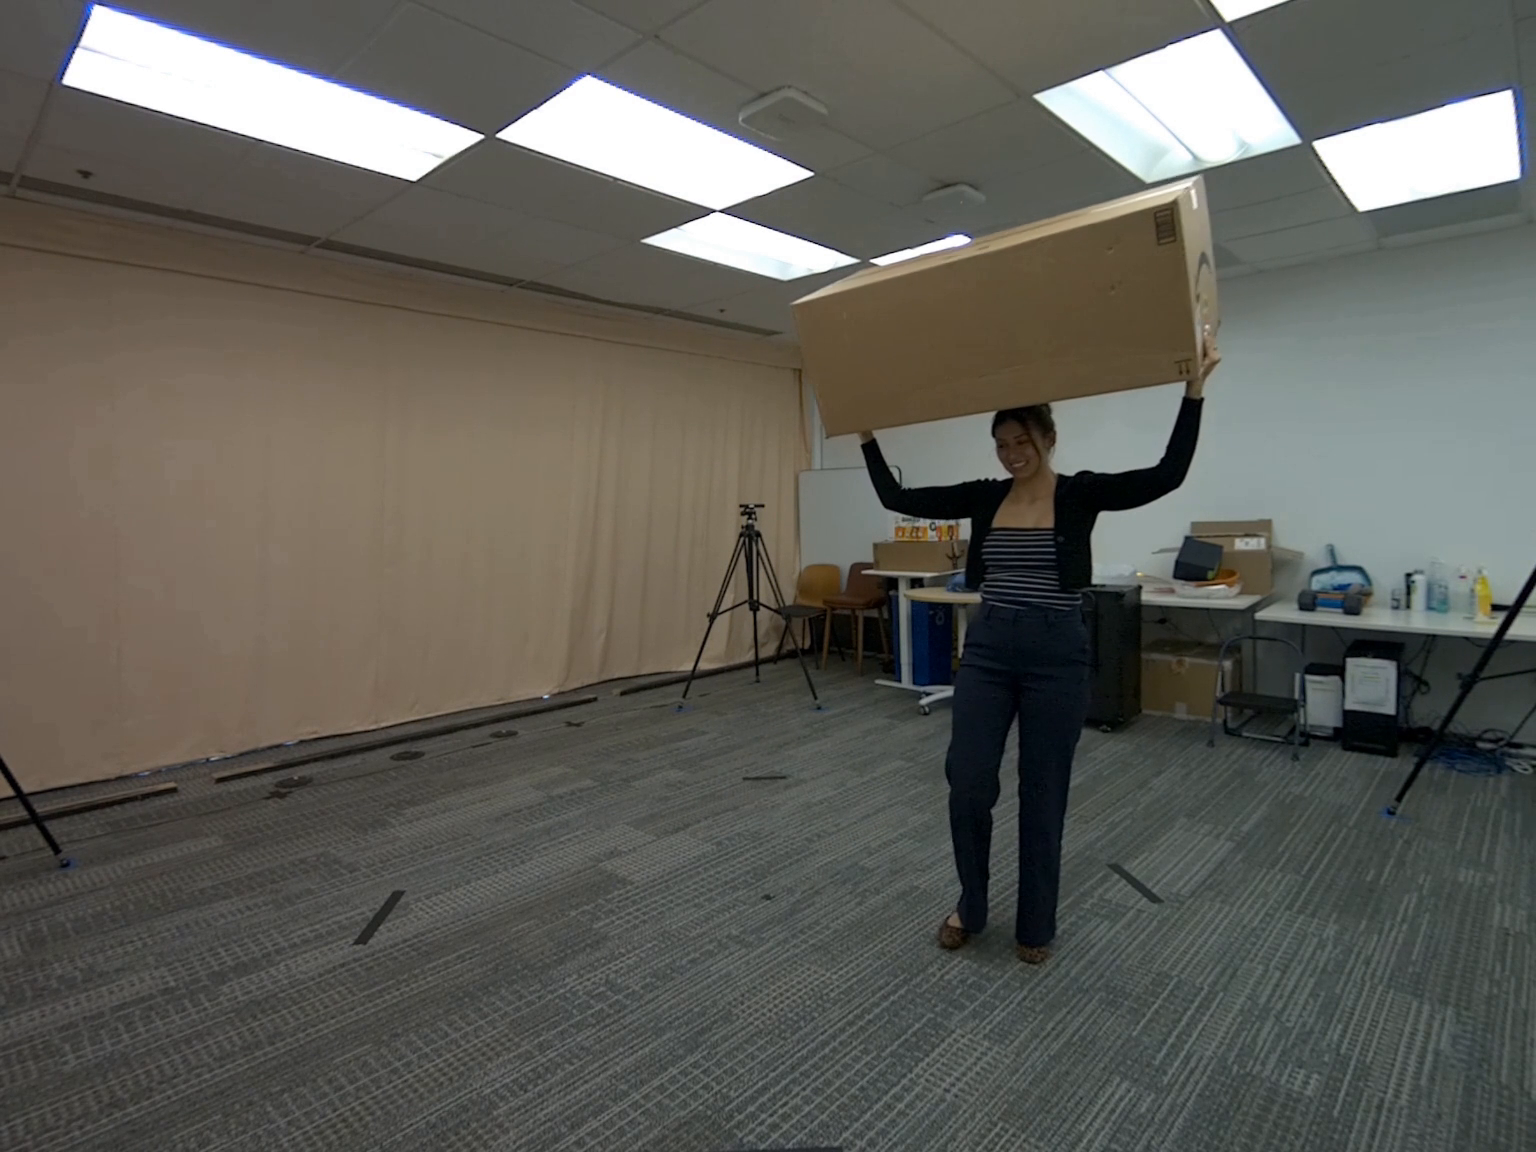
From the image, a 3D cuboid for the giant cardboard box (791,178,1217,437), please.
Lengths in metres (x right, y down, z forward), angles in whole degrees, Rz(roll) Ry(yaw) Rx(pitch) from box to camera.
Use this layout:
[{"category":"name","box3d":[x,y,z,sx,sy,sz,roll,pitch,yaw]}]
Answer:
[{"category":"giant cardboard box","box3d":[0.684,-0.756,2.462,1.056,0.419,0.570,-3,25,35]}]
